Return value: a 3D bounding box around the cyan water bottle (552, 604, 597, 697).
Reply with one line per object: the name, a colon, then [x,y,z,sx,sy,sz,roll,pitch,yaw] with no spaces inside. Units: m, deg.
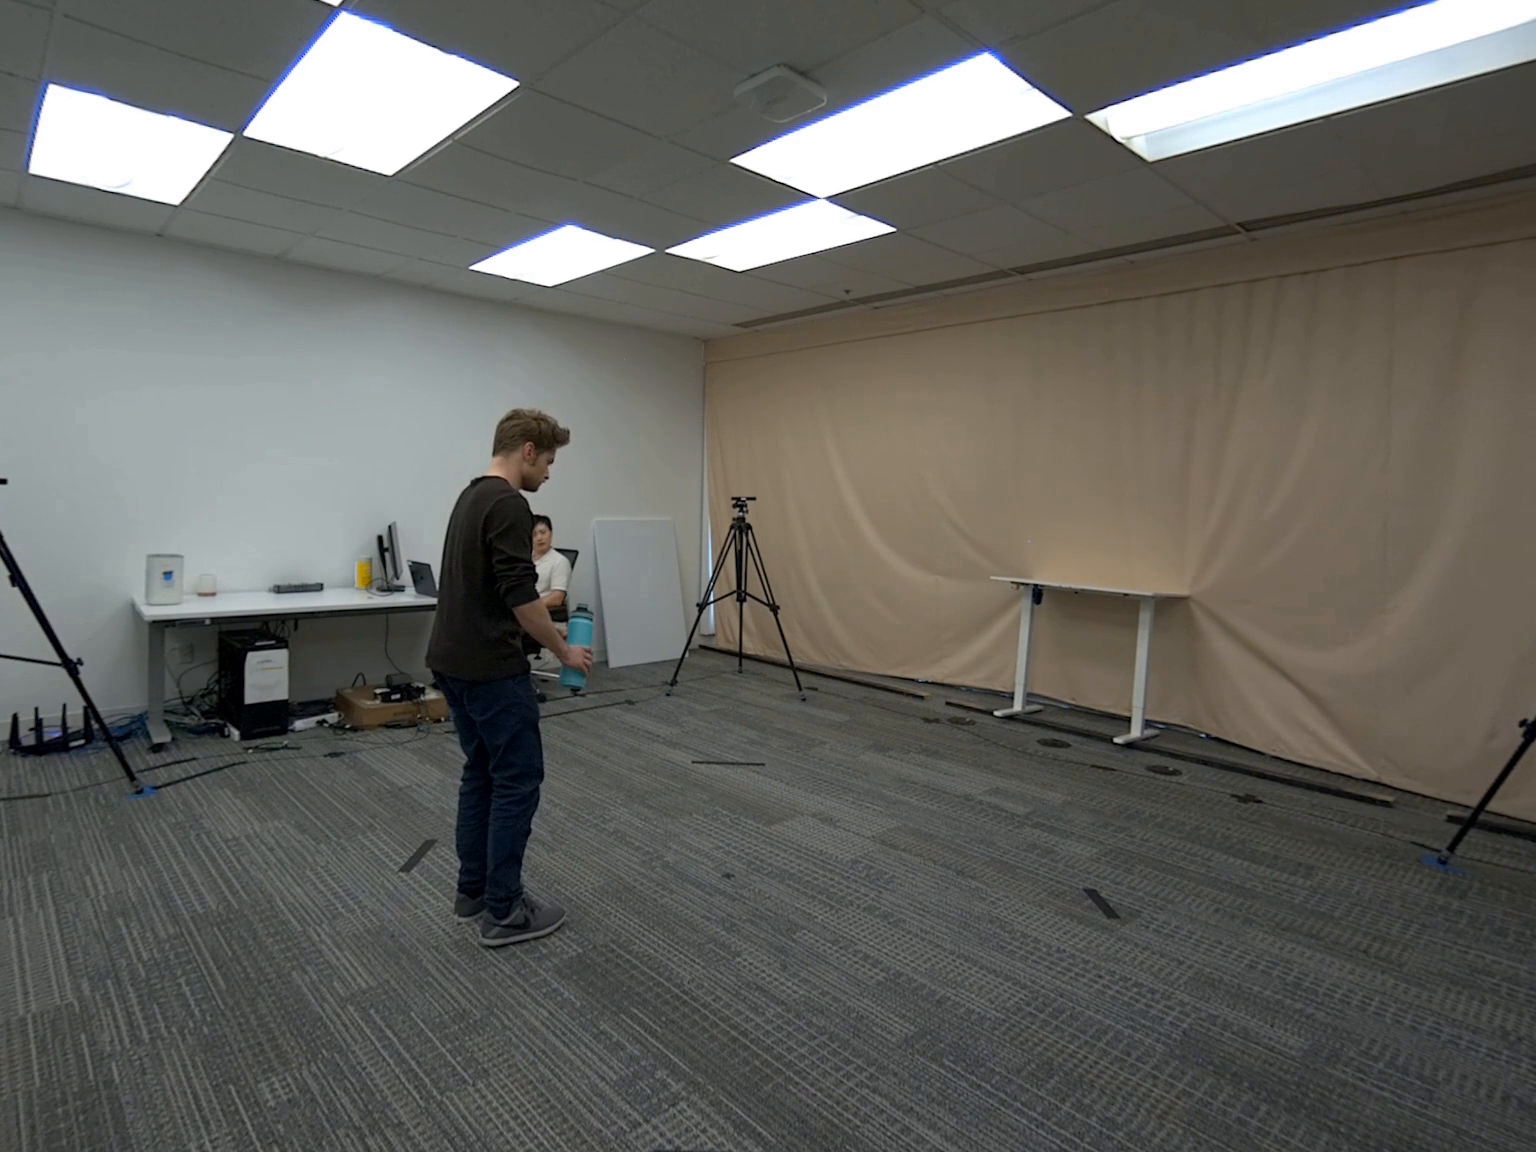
cyan water bottle: [-0.647,0.247,2.834,0.092,0.287,0.091,4,-20,0]
